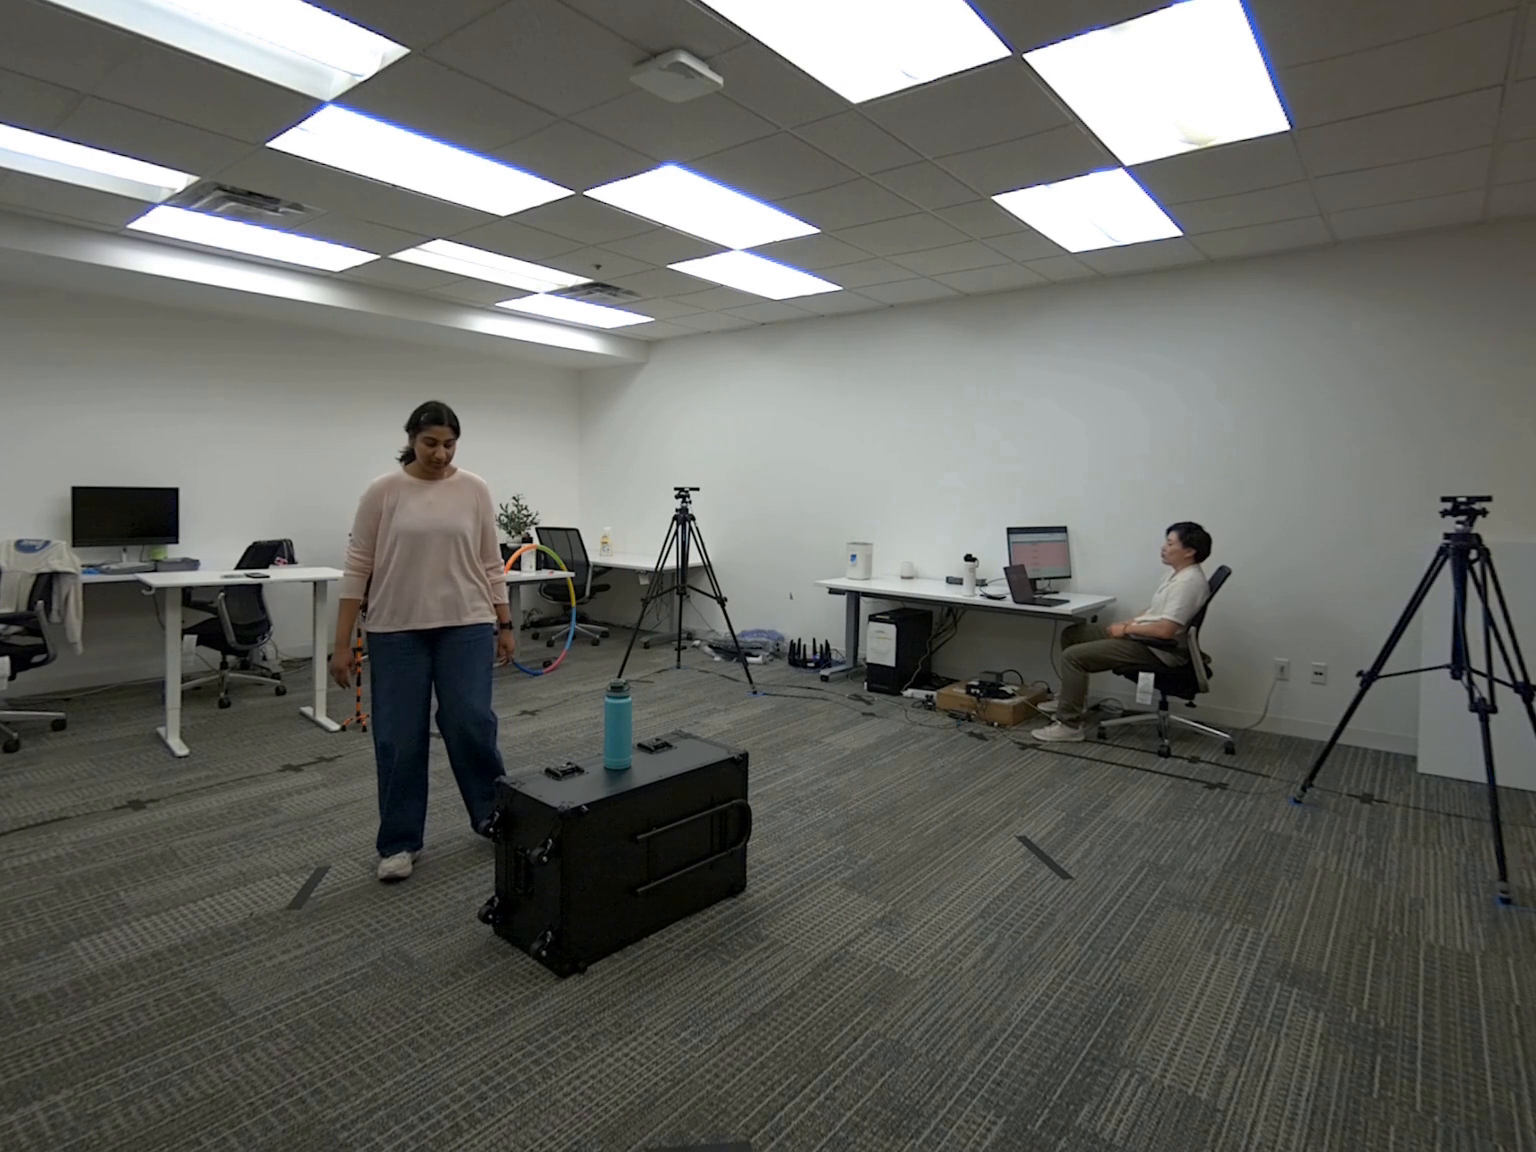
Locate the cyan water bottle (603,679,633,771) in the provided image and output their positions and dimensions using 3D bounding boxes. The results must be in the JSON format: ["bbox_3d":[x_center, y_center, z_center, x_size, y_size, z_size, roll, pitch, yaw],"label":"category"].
[{"bbox_3d":[-0.502,0.476,2.765,0.092,0.283,0.092,0,2,-2],"label":"cyan water bottle"}]
